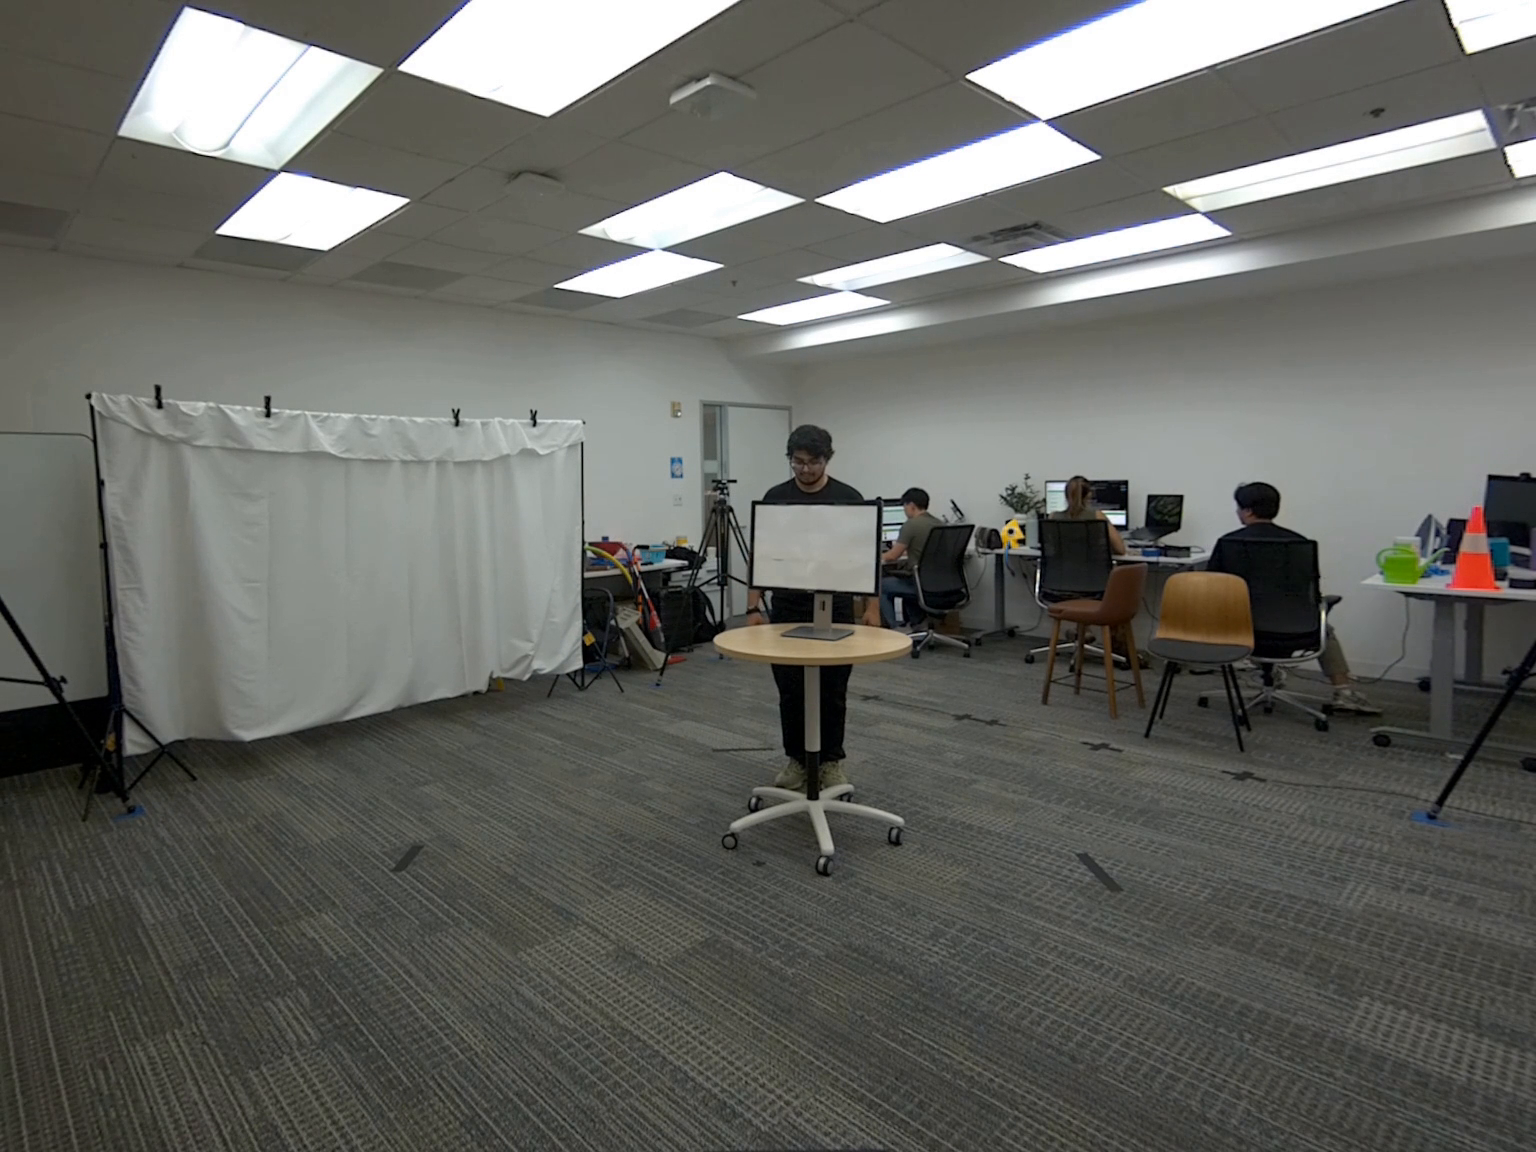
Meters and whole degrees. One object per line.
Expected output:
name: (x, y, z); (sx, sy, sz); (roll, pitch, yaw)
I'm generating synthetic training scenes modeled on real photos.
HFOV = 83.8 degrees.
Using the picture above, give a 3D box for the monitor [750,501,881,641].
monitor: (0.211, -0.027, 3.416); (0.580, 0.553, 0.205); (2, 3, 31)
